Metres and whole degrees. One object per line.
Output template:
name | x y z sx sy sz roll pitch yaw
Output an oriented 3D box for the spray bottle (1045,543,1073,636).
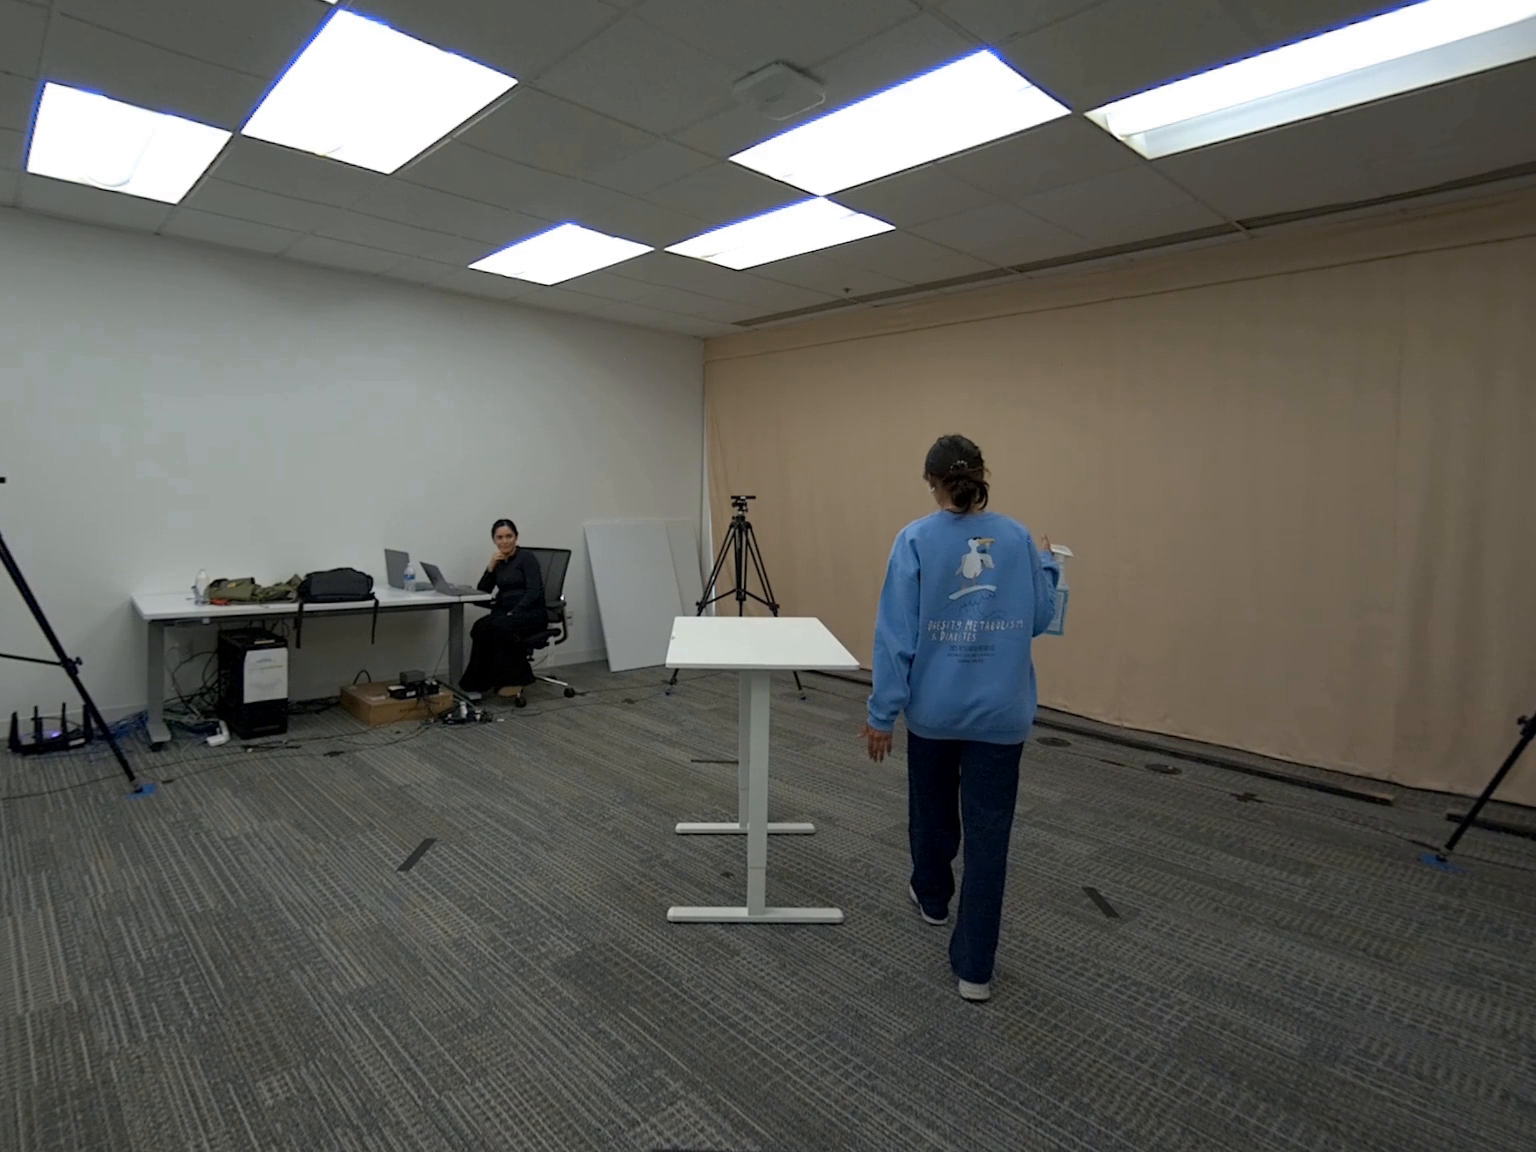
spray bottle | 0.949 0.043 2.812 0.085 0.297 0.092 5 -1 -31
